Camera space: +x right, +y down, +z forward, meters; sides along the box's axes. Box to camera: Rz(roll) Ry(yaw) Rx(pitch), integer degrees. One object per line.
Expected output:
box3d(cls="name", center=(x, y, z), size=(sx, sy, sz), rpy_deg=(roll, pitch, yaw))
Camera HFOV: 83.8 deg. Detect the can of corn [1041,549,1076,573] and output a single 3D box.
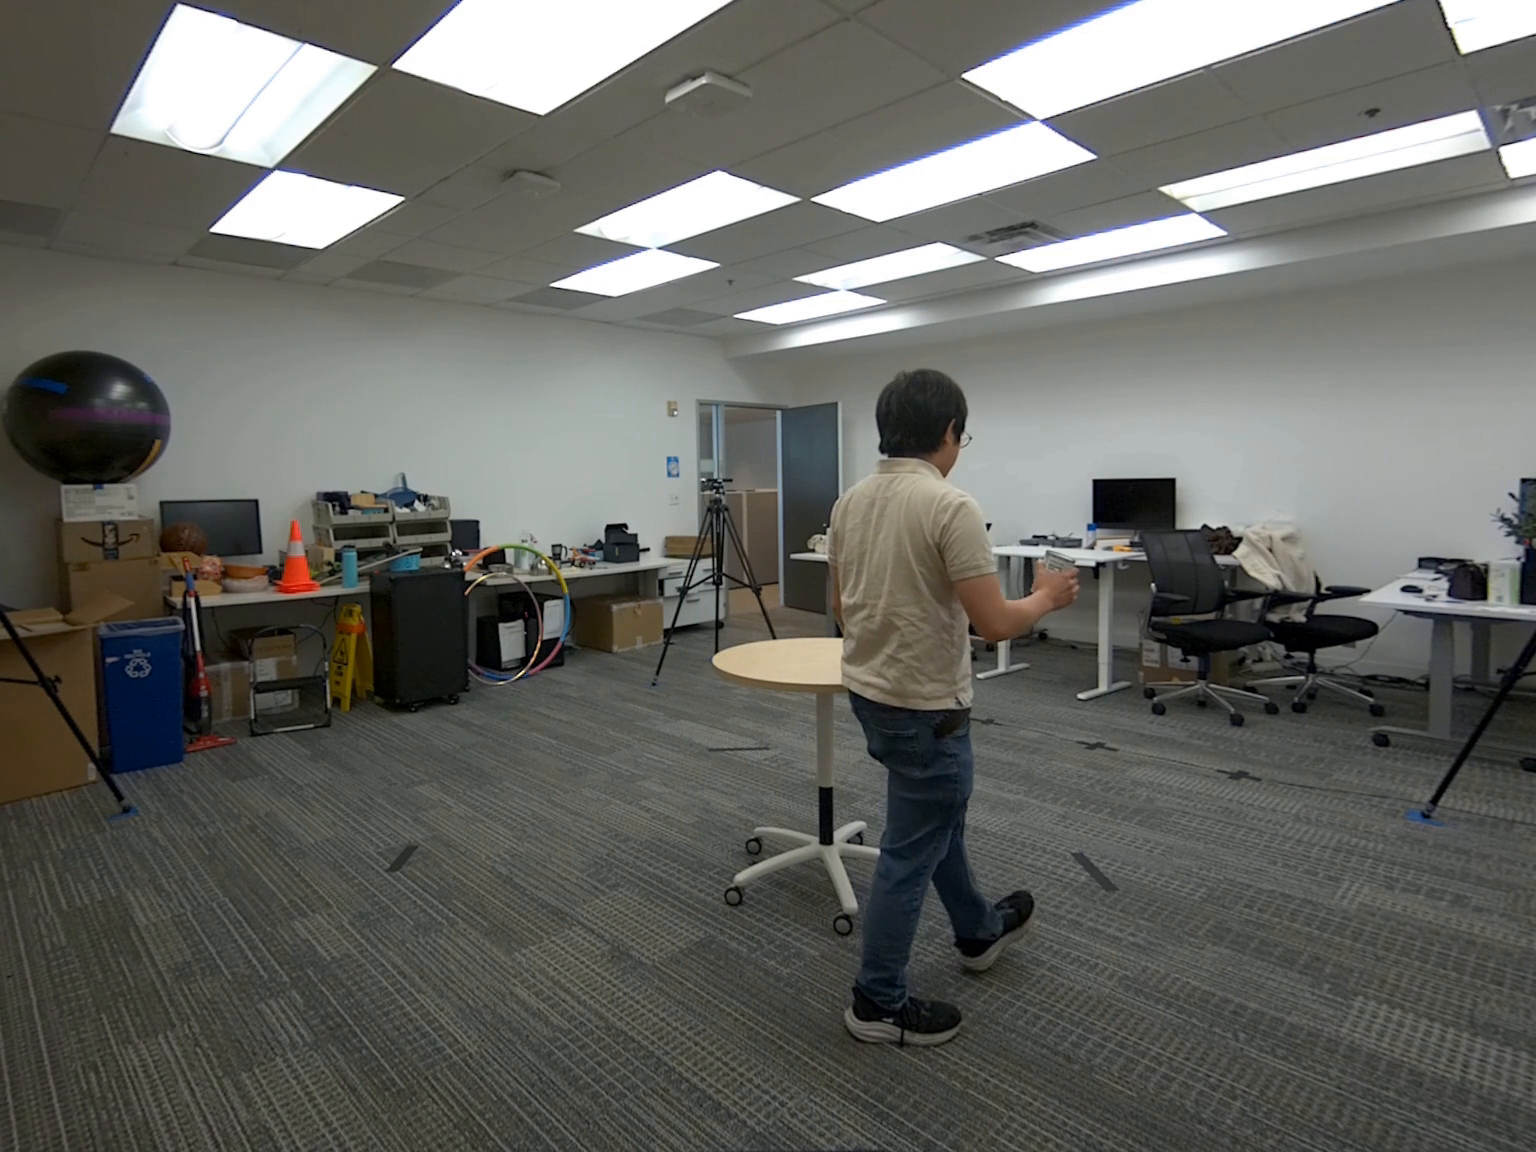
box3d(cls="can of corn", center=(0.723, -0.002, 2.161), size=(0.074, 0.110, 0.075), rpy_deg=(11, 13, -4))
